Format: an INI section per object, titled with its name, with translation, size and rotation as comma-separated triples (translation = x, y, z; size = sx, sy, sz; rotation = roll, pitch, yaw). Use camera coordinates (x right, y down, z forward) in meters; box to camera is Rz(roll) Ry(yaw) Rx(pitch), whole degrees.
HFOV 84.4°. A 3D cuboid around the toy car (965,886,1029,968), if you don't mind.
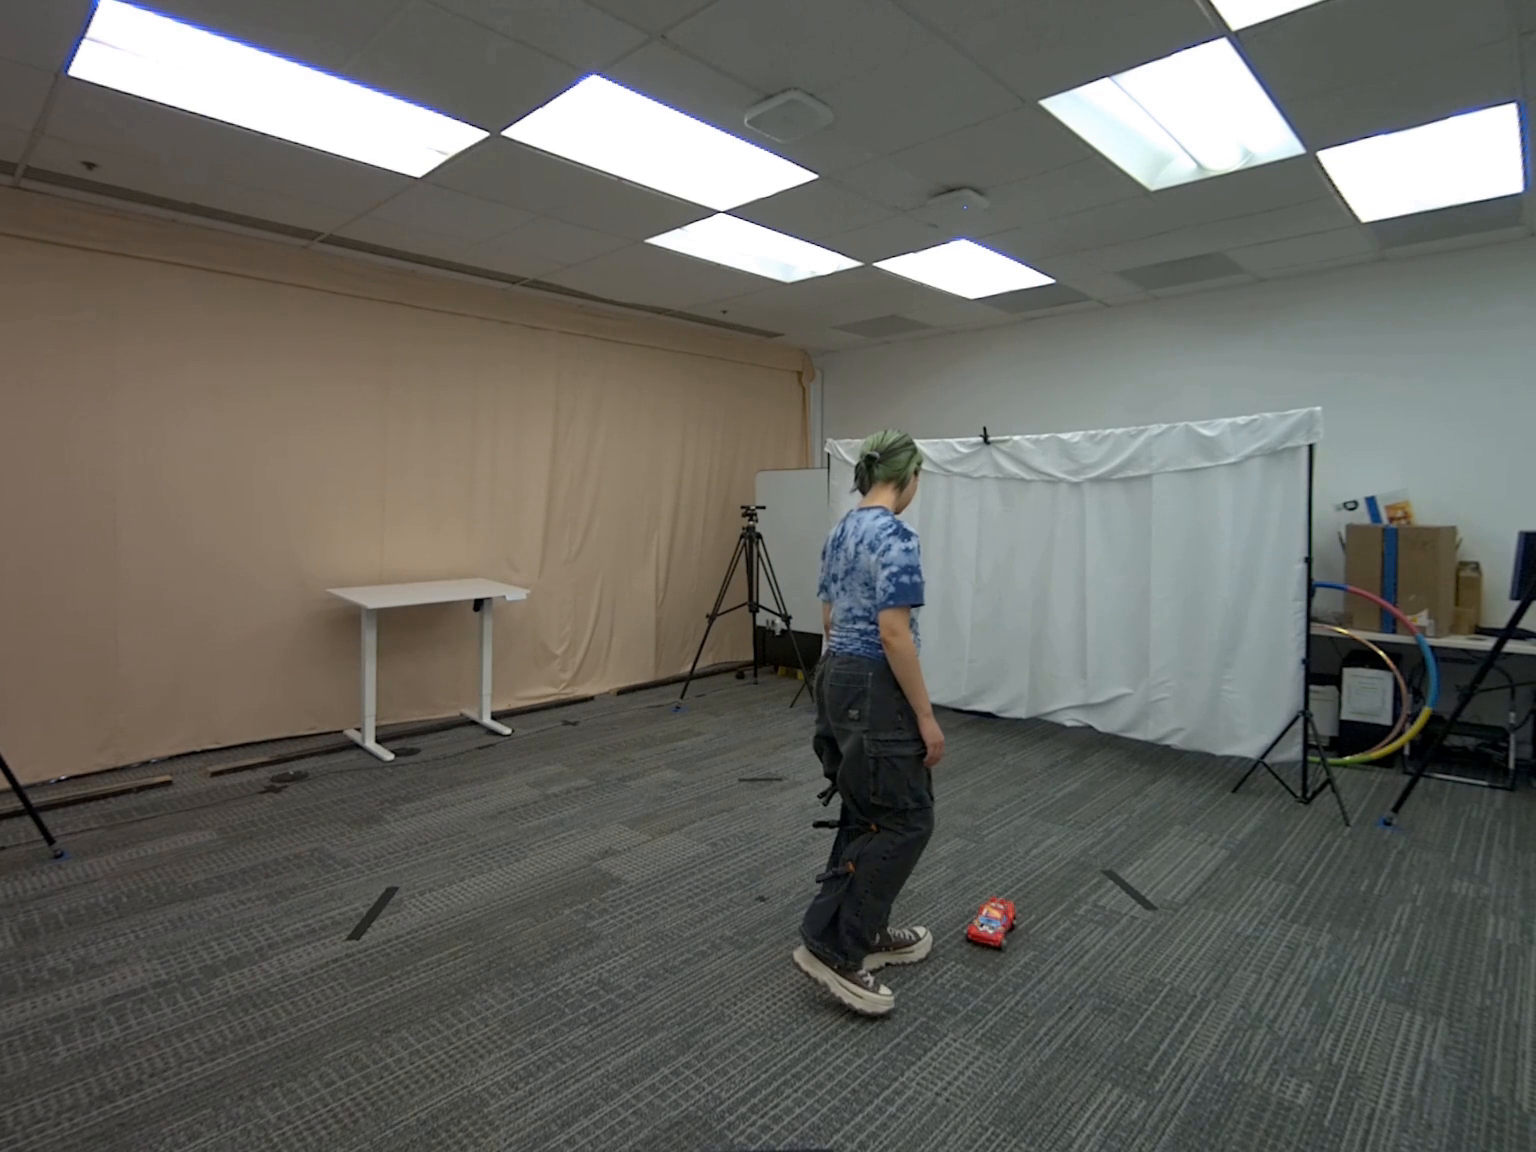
[toy car]
translation = 0.743, 1.130, 2.742
size = 0.134, 0.082, 0.250
rotation = 3, 17, 30
